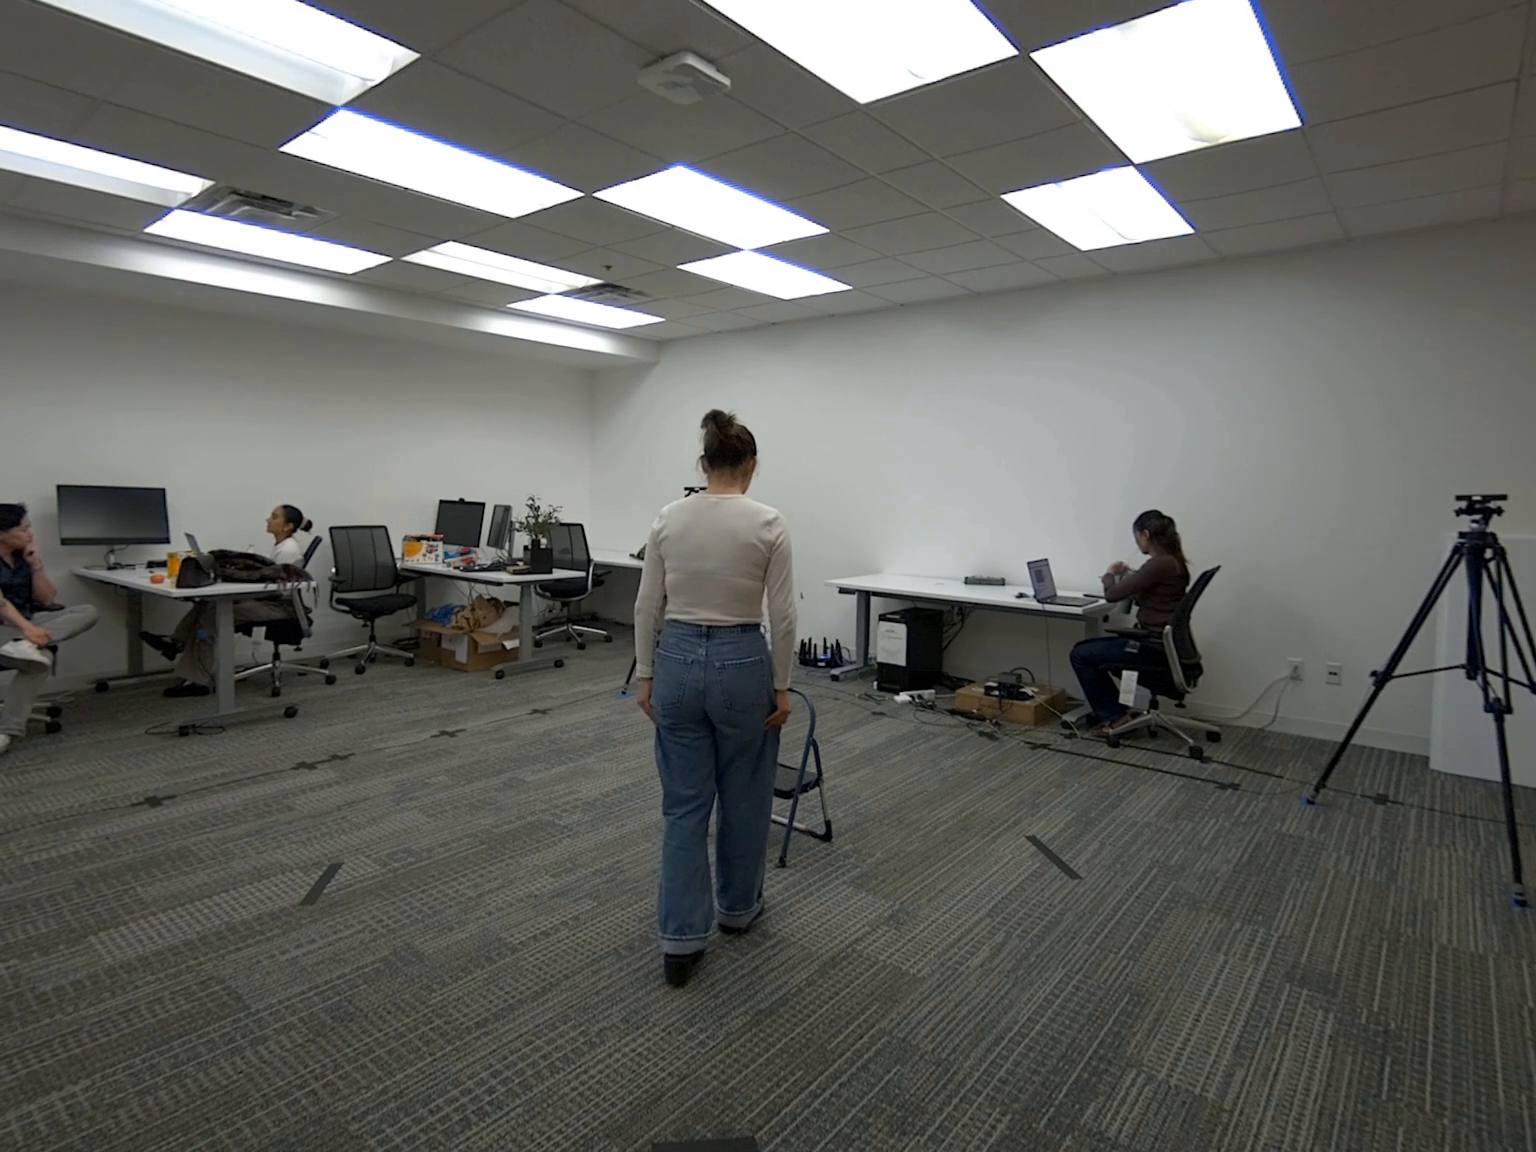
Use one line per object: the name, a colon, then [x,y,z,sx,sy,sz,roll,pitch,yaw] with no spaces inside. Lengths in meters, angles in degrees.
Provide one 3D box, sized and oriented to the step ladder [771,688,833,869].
step ladder: [-0.004,0.737,3.372,0.445,0.604,0.339,4,5,40]
